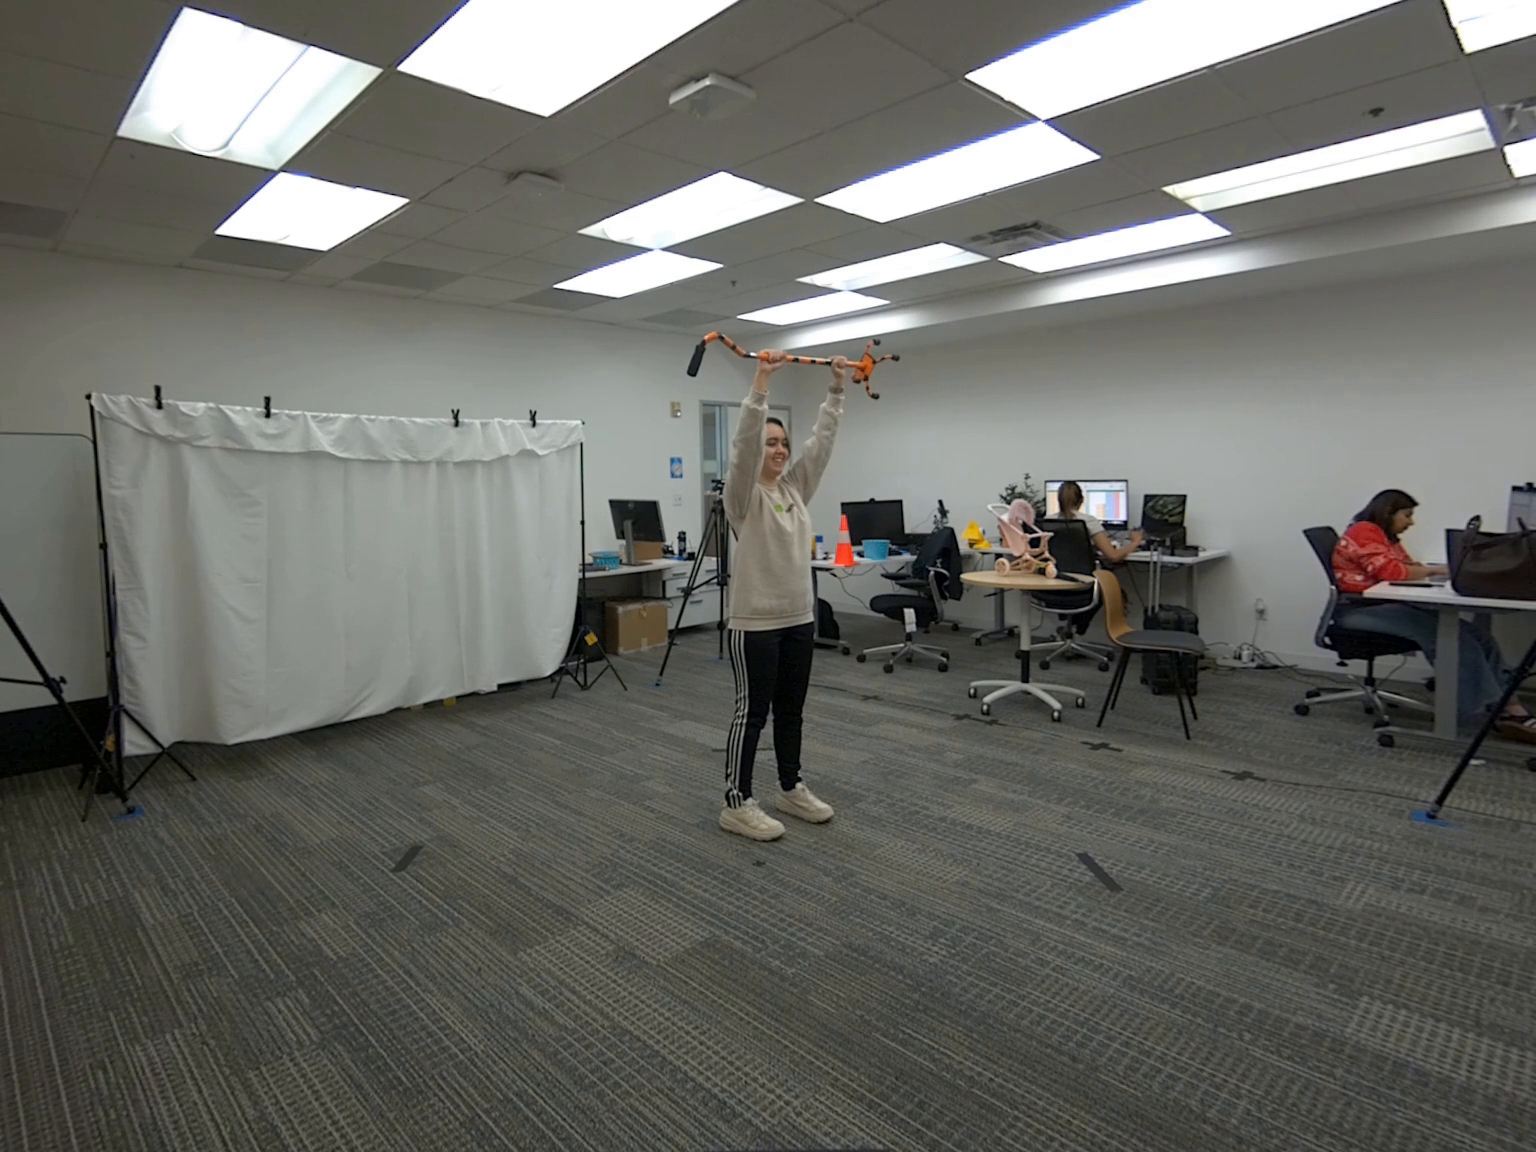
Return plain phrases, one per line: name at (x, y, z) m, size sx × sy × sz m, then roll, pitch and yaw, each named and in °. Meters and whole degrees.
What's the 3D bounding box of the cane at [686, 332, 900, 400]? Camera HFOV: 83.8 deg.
cane at (0.099, -0.798, 3.164) m, size 0.885 × 0.204 × 0.157 m, roll -7°, pitch 44°, yaw -39°
